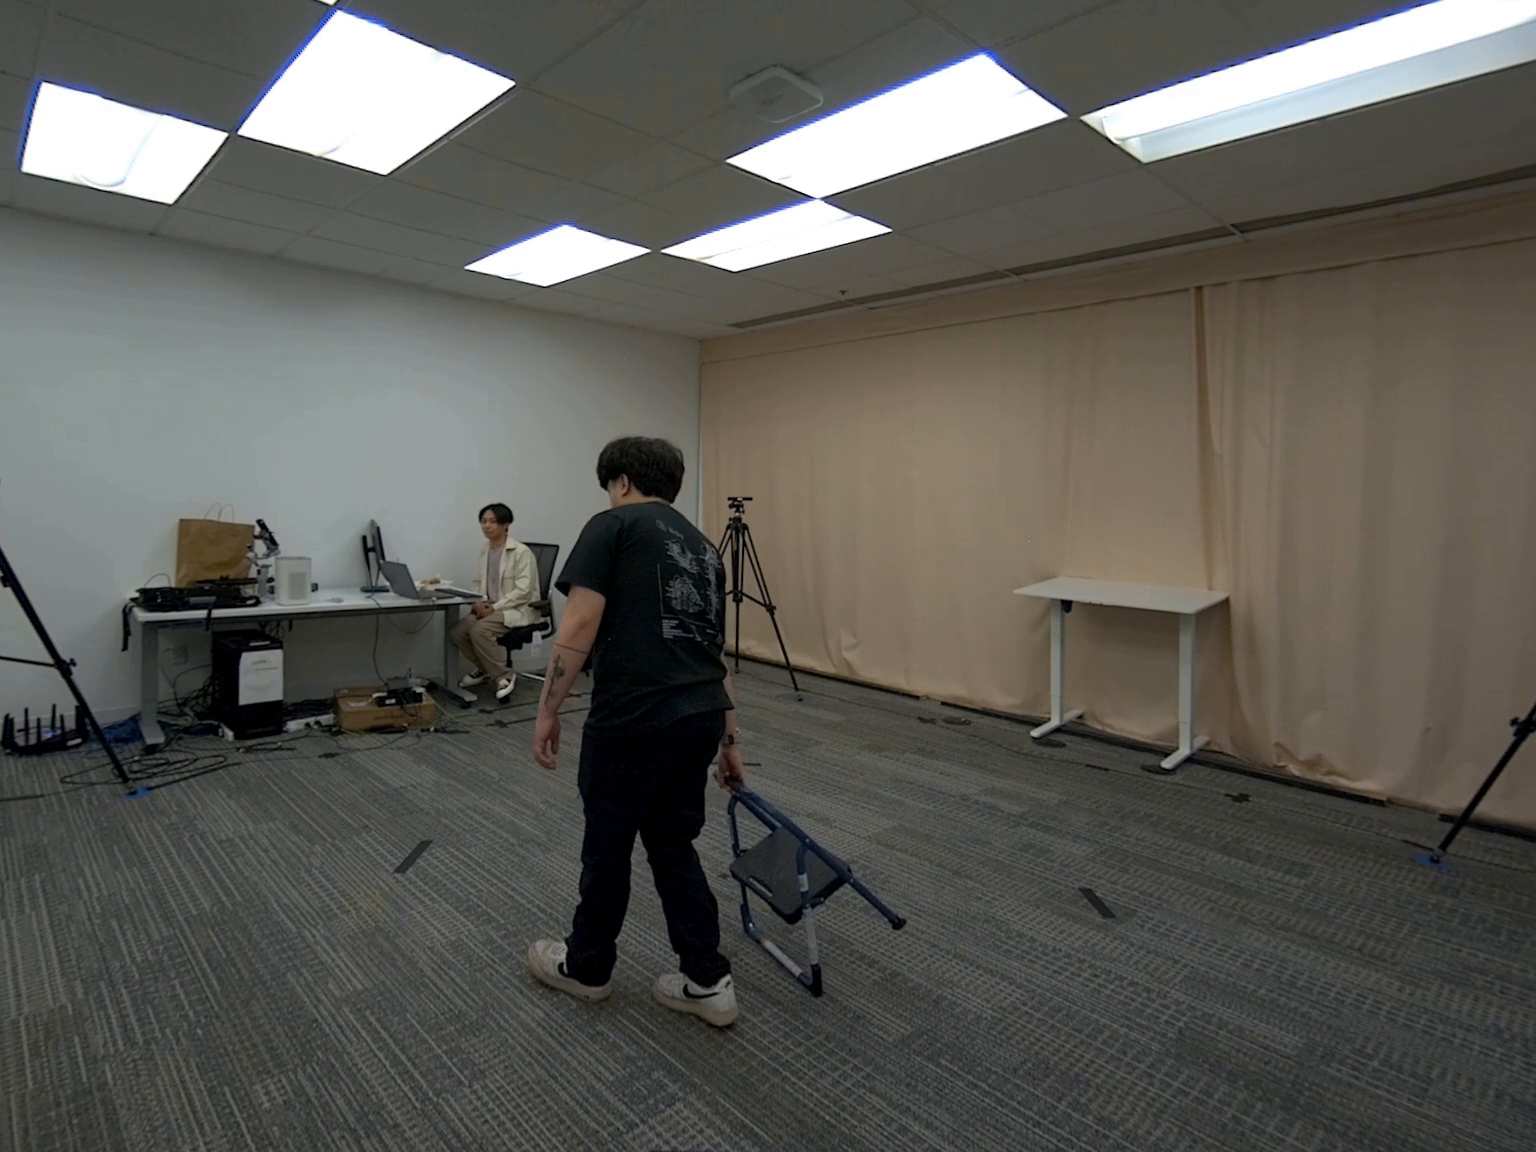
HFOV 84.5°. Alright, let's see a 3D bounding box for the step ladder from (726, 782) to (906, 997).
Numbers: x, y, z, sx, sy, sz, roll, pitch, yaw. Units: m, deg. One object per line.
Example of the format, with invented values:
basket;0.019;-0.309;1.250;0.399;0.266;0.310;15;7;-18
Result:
step ladder;0.059;0.824;2.527;0.346;0.597;0.441;-30;19;-26
